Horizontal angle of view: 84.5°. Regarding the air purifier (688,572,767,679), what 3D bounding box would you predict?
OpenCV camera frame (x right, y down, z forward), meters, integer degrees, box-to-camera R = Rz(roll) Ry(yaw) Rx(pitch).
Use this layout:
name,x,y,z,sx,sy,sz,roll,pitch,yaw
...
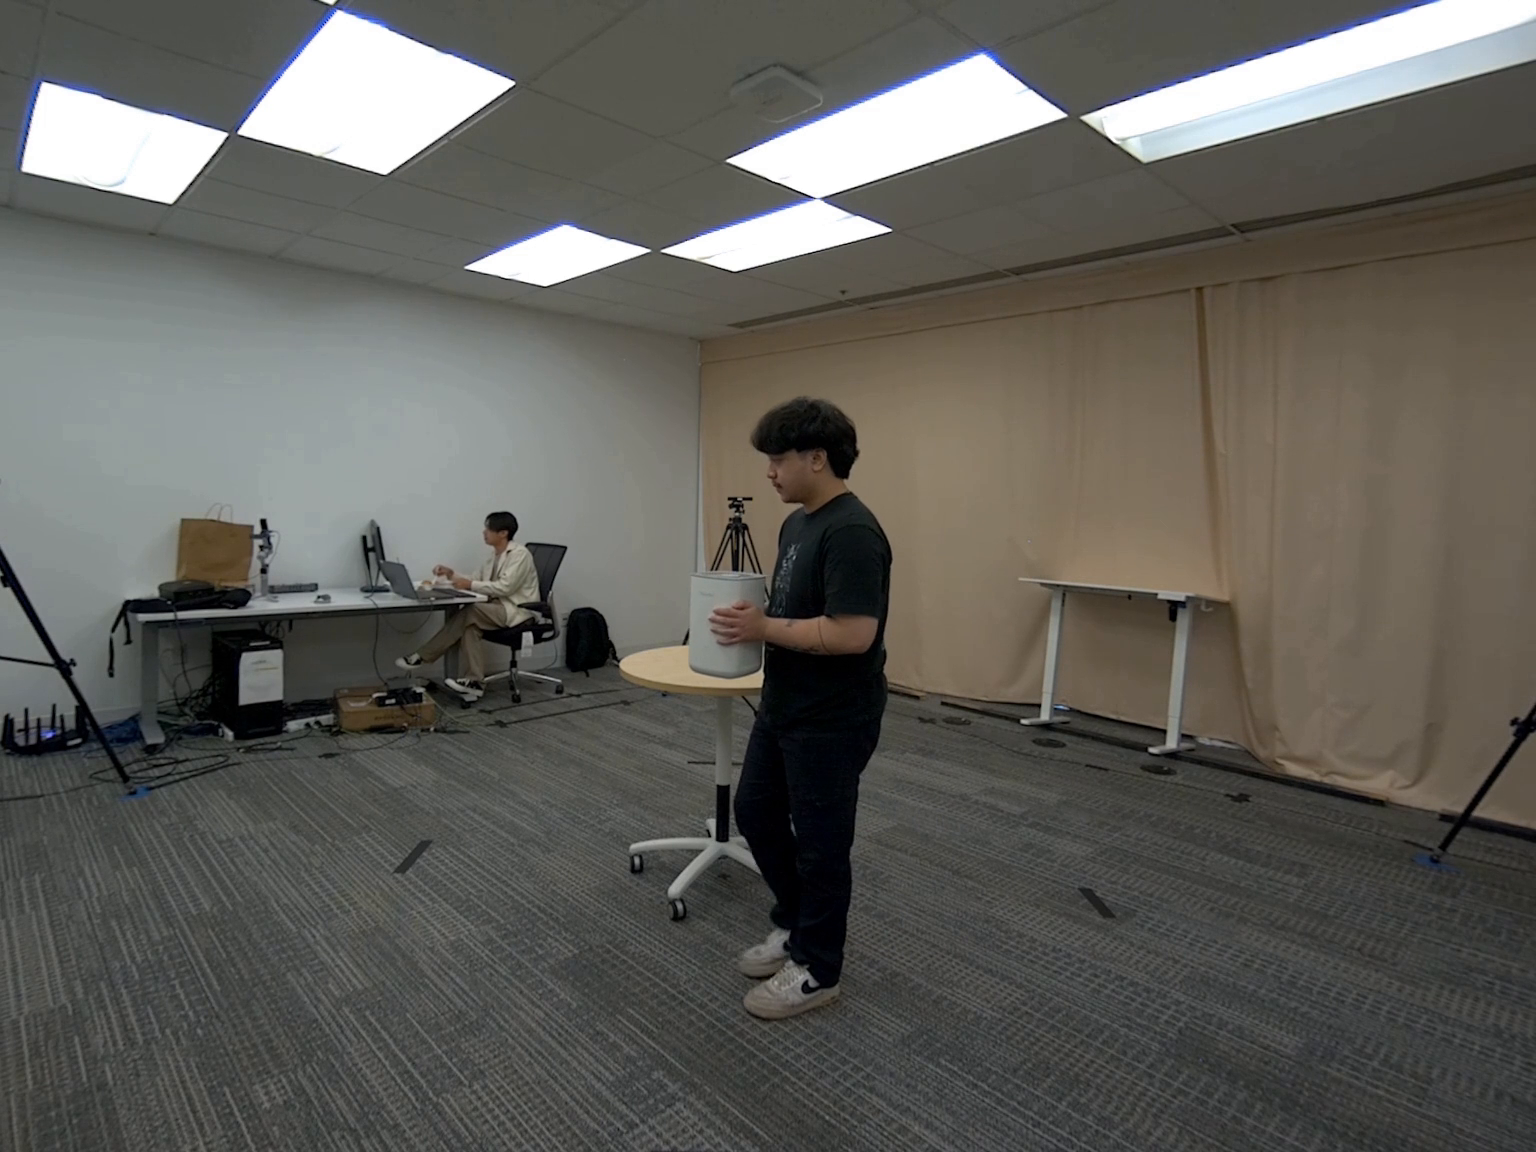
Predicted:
name,x,y,z,sx,sy,sz,roll,pitch,yaw
air purifier,-0.106,0.130,2.245,0.175,0.264,0.168,5,6,36
